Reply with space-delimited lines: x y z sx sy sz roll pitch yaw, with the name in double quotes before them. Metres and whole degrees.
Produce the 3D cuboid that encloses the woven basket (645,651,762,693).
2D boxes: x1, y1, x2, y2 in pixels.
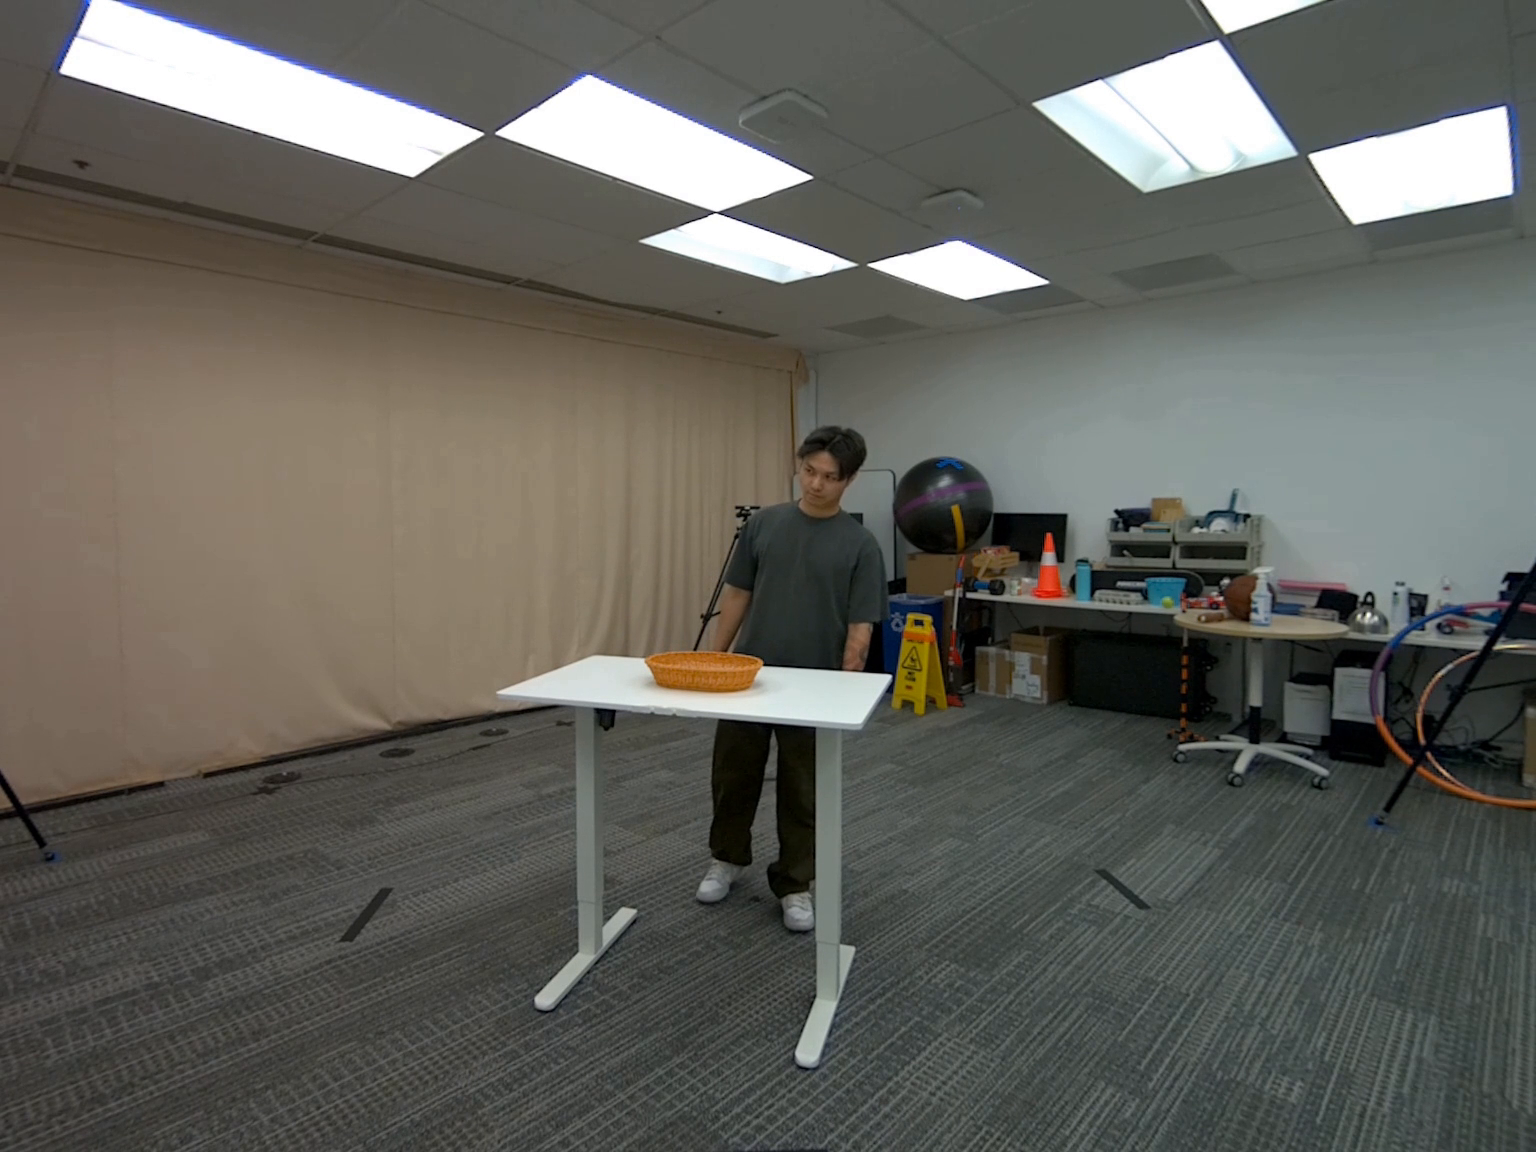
"woven basket" -0.188 0.281 2.405 0.358 0.073 0.247 2 6 21
